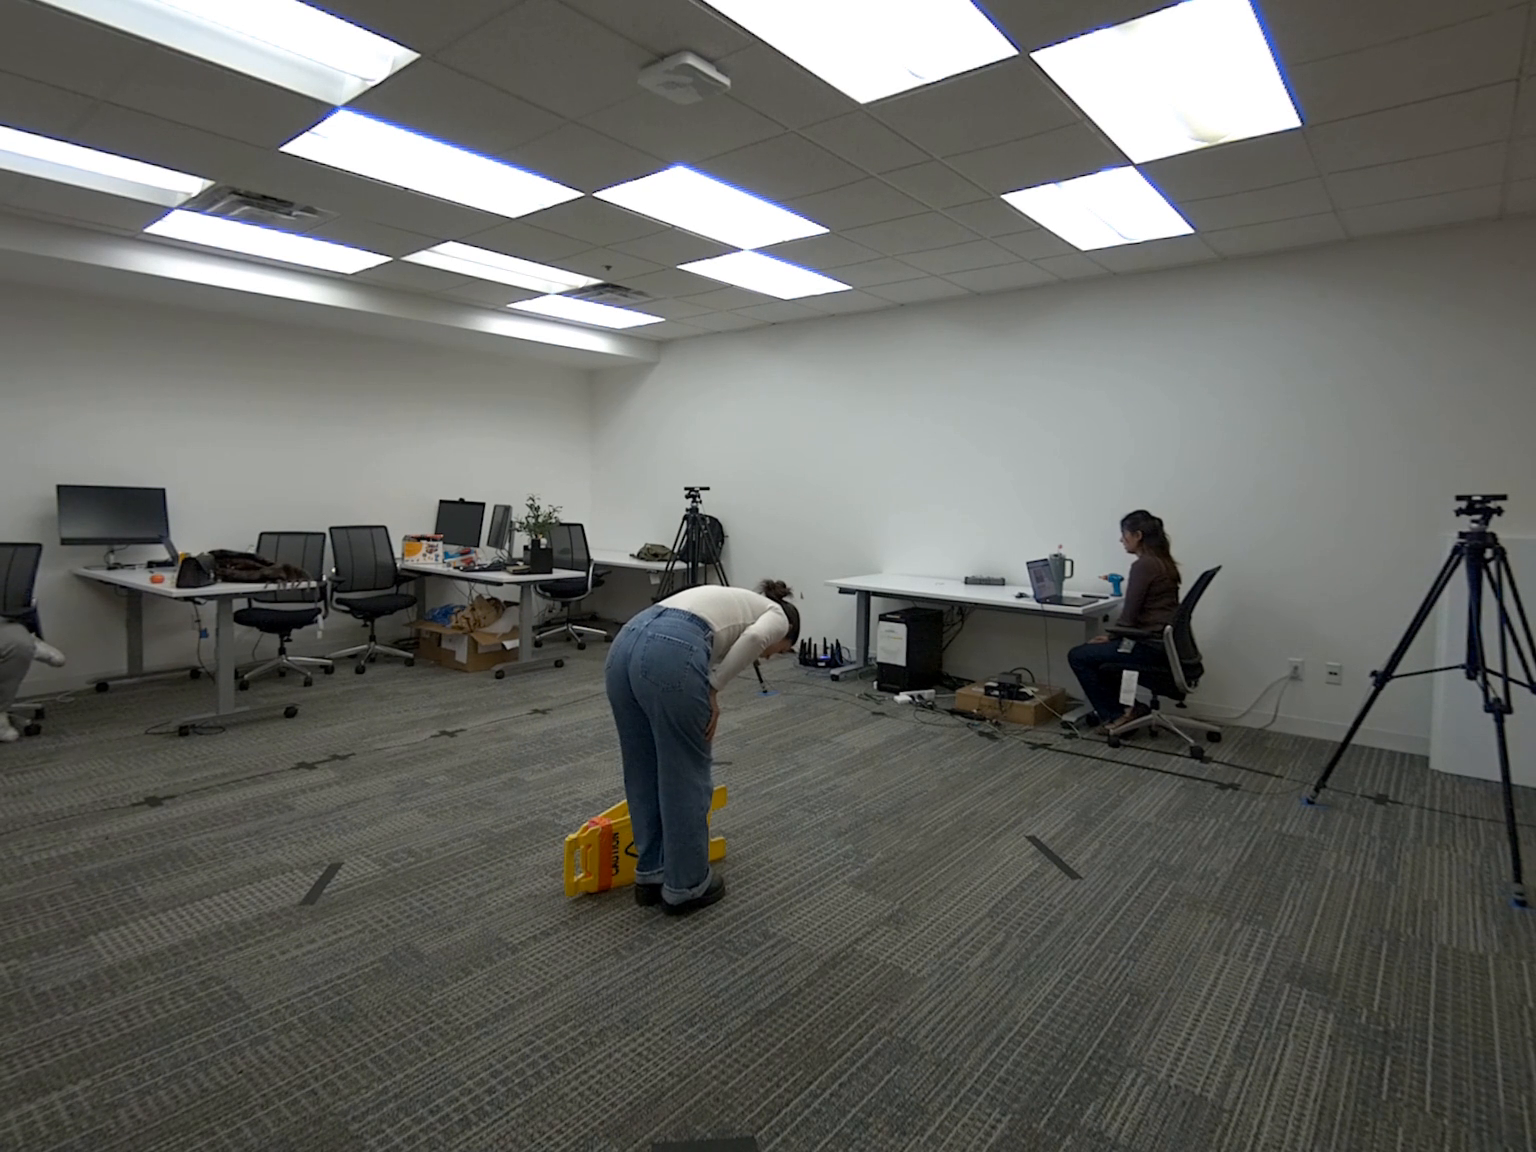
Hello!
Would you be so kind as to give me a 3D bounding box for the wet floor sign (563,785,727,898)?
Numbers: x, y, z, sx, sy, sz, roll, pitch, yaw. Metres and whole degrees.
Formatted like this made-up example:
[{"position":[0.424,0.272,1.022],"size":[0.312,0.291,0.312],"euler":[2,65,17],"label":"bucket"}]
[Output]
[{"position":[-0.471,0.938,3.052],"size":[0.299,0.281,0.628],"euler":[4,8,41],"label":"wet floor sign"}]
